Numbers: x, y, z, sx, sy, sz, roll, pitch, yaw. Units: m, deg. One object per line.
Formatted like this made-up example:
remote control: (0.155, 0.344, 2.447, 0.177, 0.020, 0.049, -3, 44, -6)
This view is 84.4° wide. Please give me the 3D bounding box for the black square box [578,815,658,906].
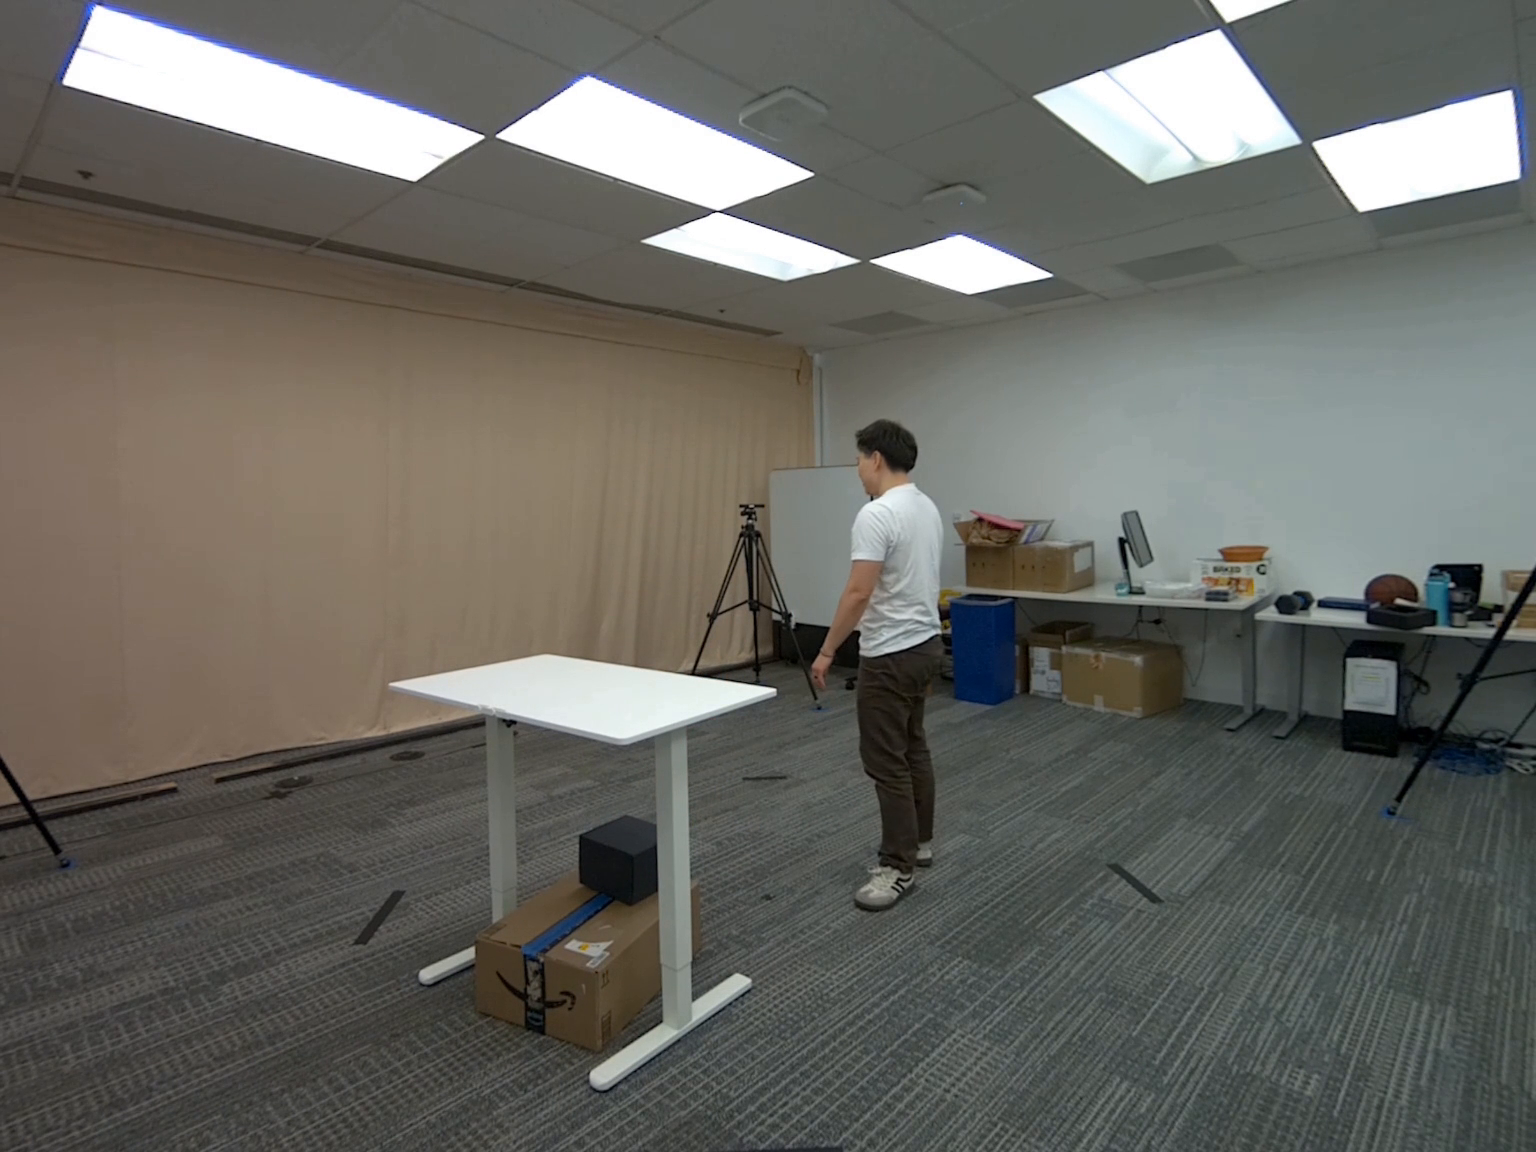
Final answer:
black square box: (-0.431, 0.877, 2.618, 0.235, 0.155, 0.211, 4, 6, 35)
